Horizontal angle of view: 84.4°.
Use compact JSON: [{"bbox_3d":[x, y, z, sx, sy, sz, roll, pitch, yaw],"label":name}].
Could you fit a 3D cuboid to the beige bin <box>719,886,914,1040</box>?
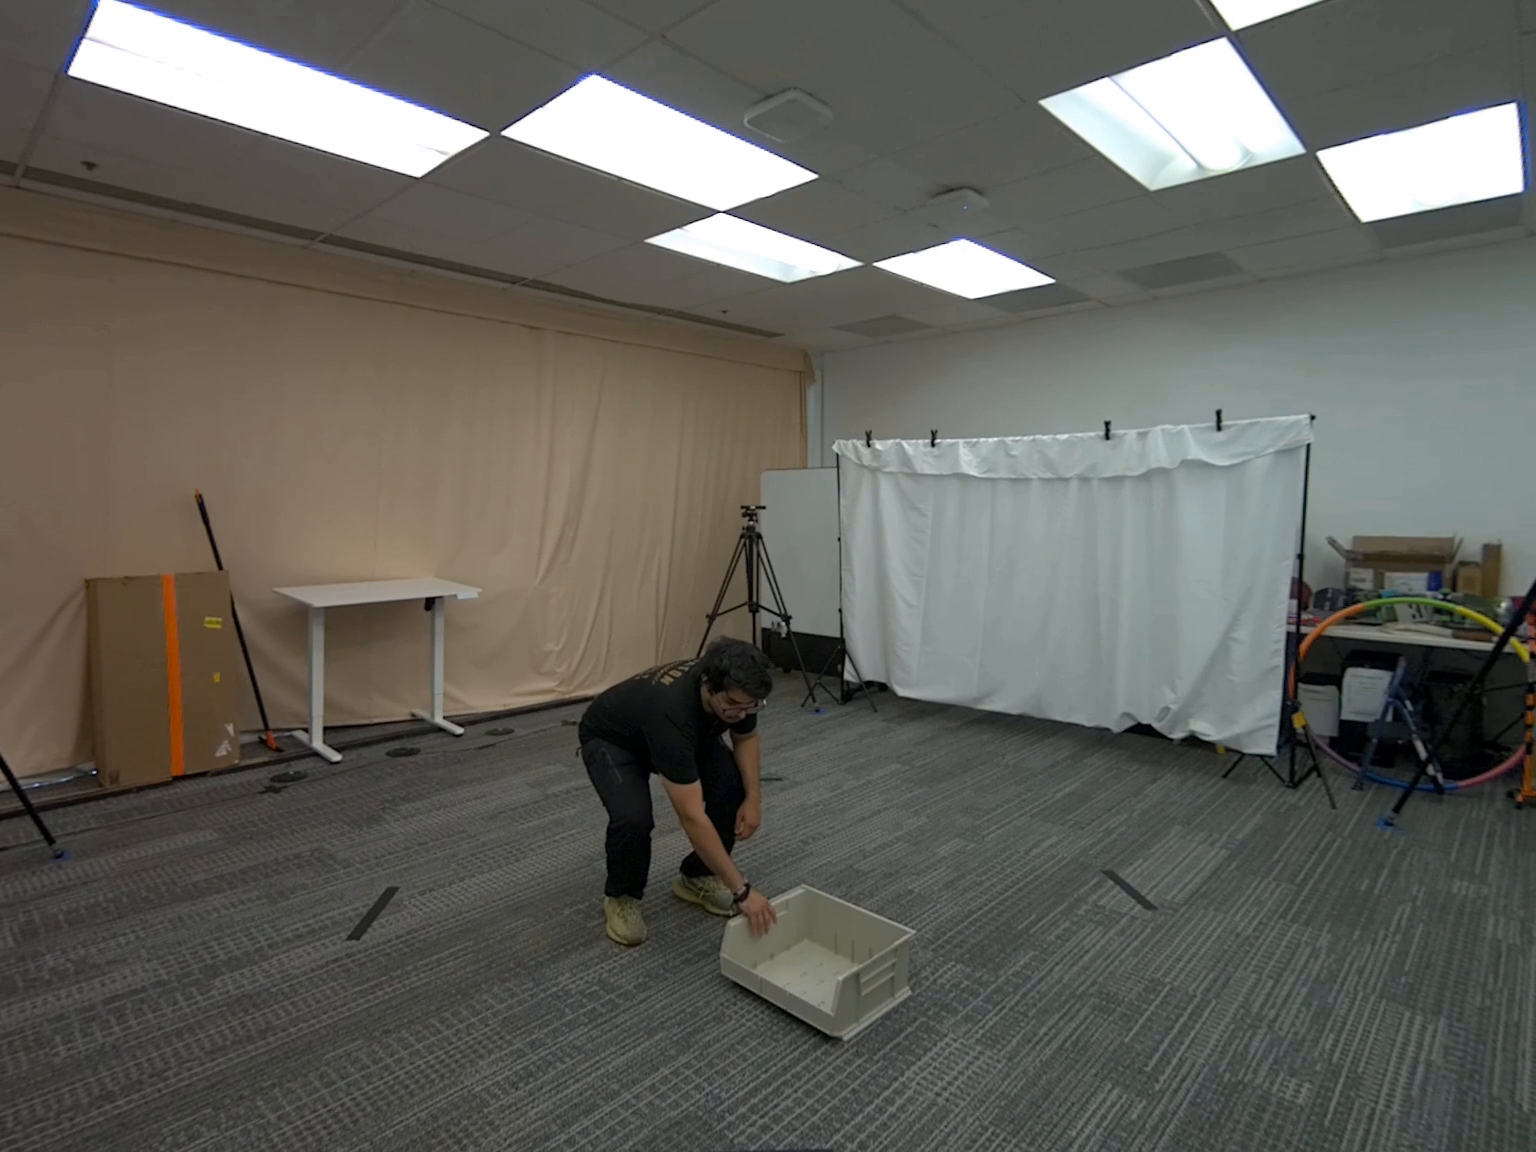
[{"bbox_3d":[0.145,1.103,2.420,0.436,0.188,0.365,4,5,44],"label":"beige bin"}]
